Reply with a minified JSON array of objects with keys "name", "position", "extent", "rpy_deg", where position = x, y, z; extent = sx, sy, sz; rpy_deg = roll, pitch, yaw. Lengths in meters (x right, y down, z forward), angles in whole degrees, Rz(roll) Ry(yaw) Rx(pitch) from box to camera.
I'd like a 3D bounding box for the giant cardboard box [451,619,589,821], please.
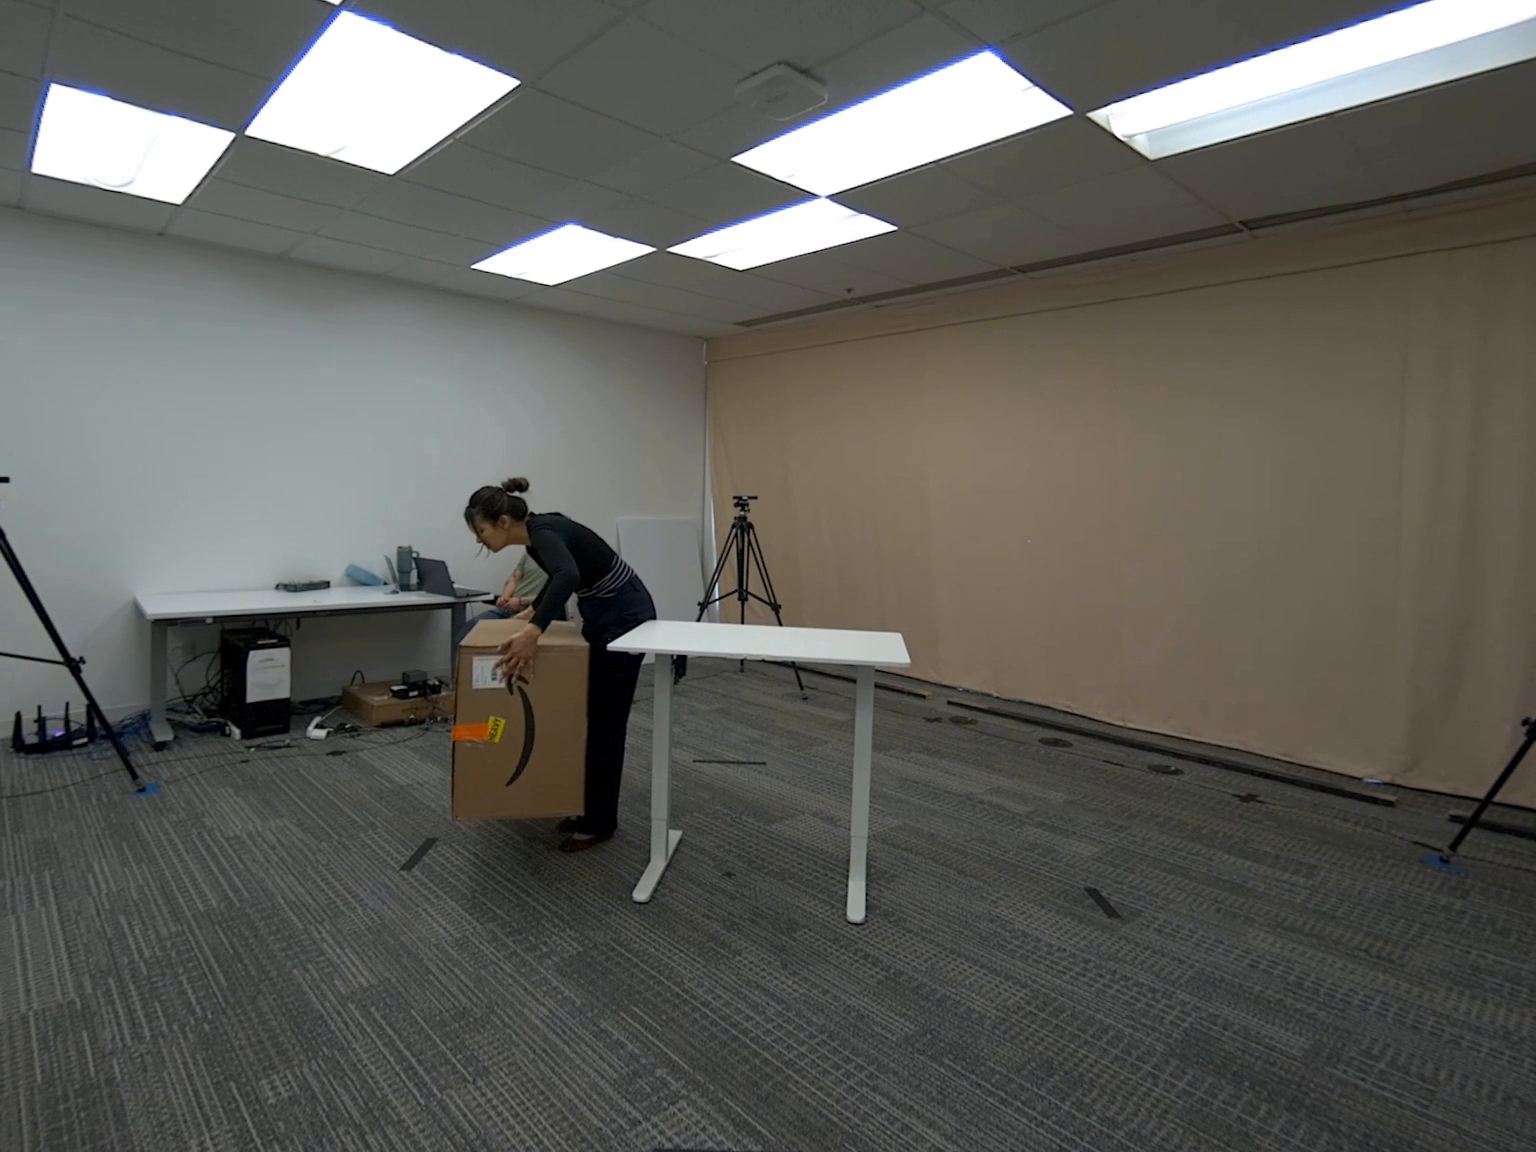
[{"name":"giant cardboard box","position":[-0.969,0.501,3.258],"extent":[0.421,0.578,1.037],"rpy_deg":[2,0,-15]}]
